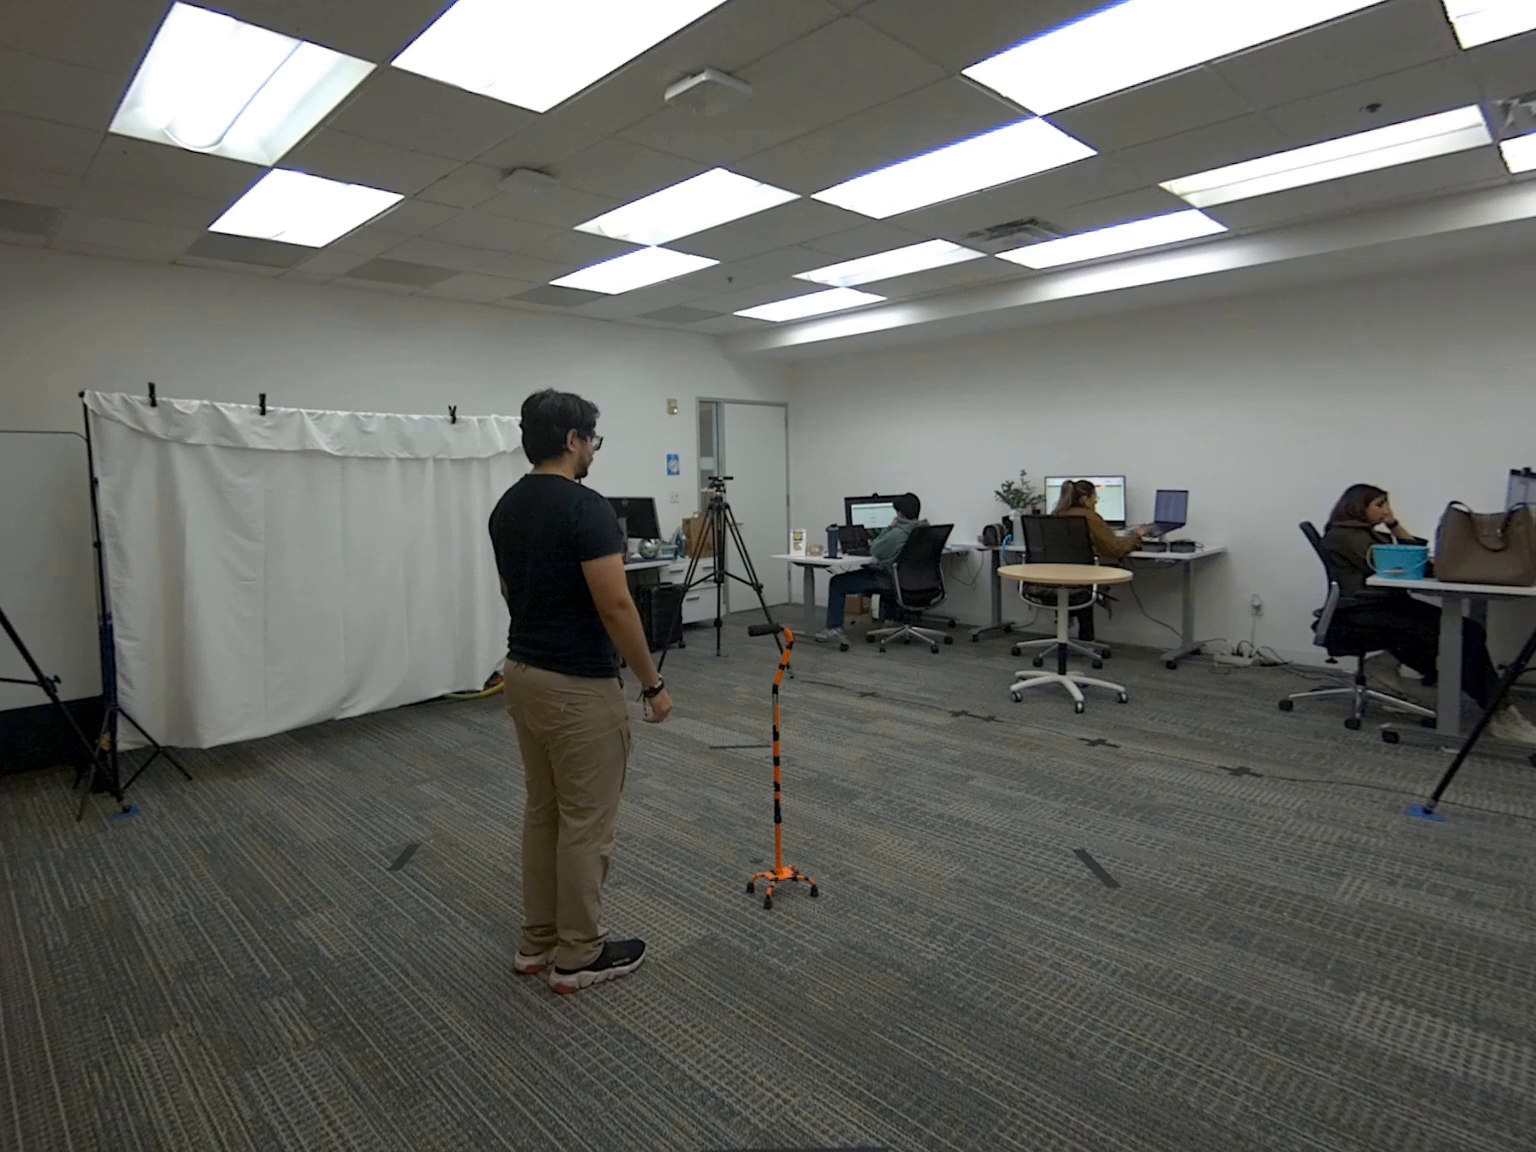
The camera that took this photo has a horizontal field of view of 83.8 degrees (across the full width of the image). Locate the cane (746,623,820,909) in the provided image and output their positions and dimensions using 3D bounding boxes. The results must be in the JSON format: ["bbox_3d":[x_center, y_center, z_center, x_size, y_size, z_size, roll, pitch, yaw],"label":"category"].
[{"bbox_3d":[0.038,0.615,2.828,0.202,0.904,0.155,-4,5,-26],"label":"cane"}]
